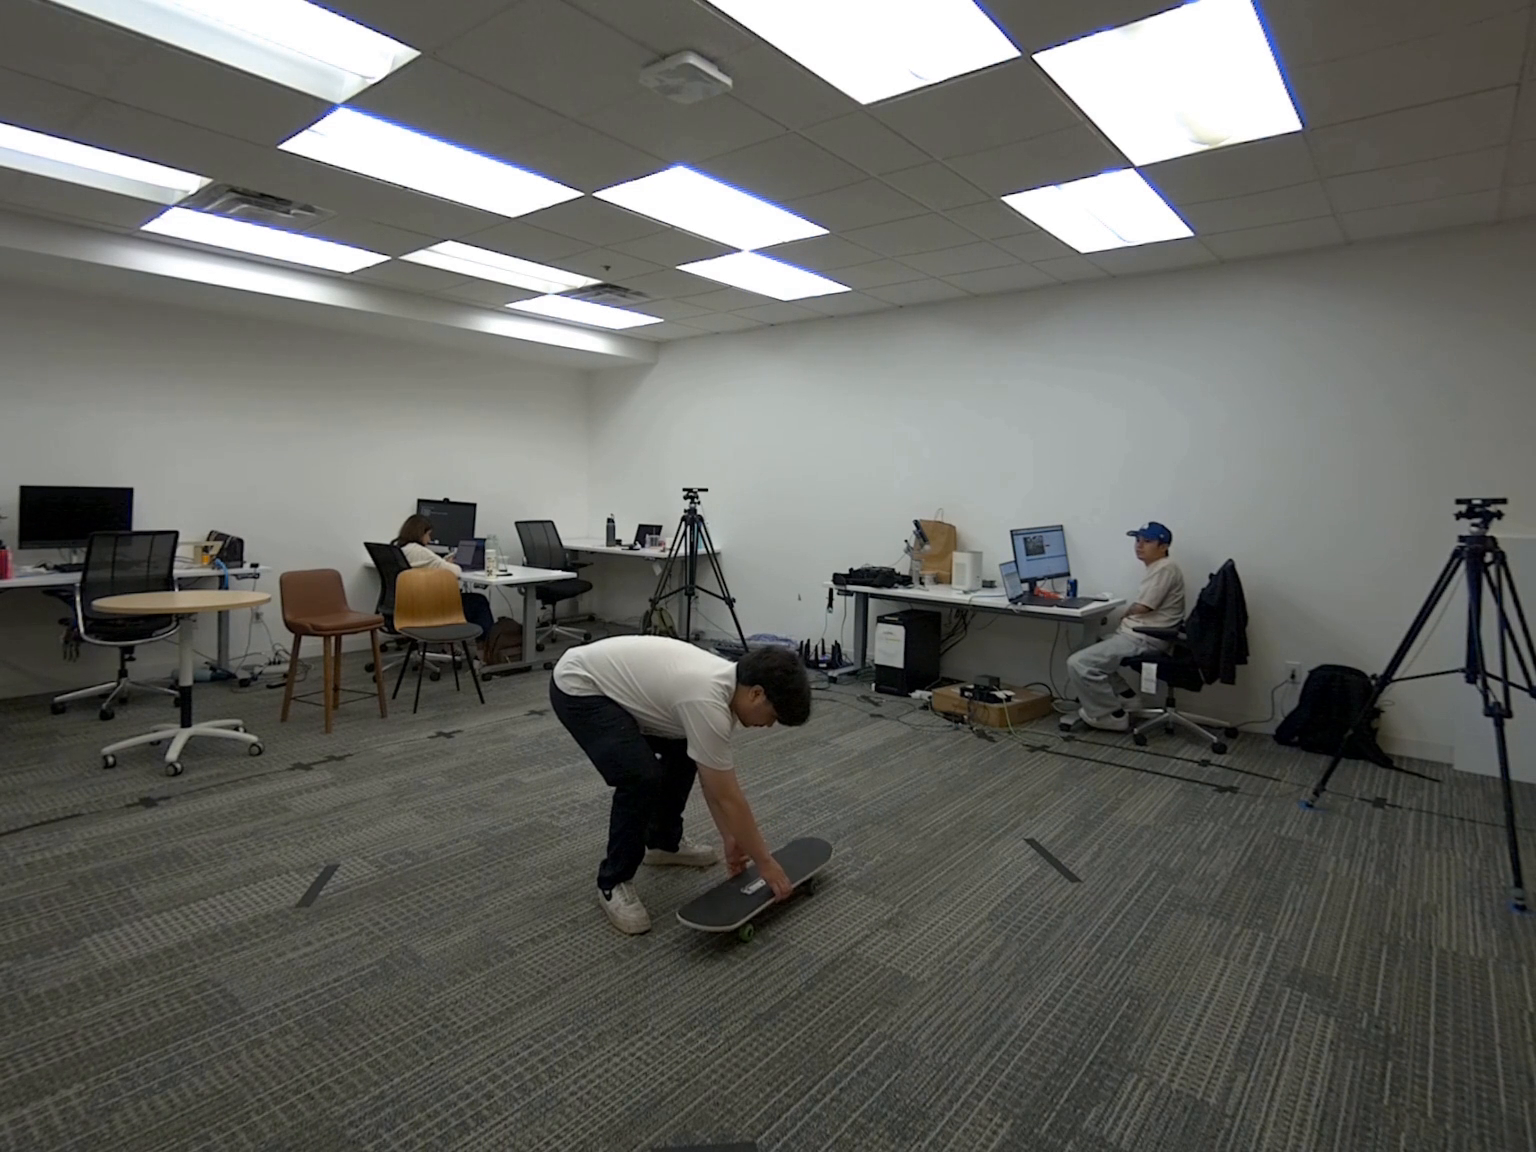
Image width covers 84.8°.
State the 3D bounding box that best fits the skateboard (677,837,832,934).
[{"bbox_3d":[-0.027,1.039,2.822,0.200,0.110,0.763,6,7,35],"label":"skateboard"}]
